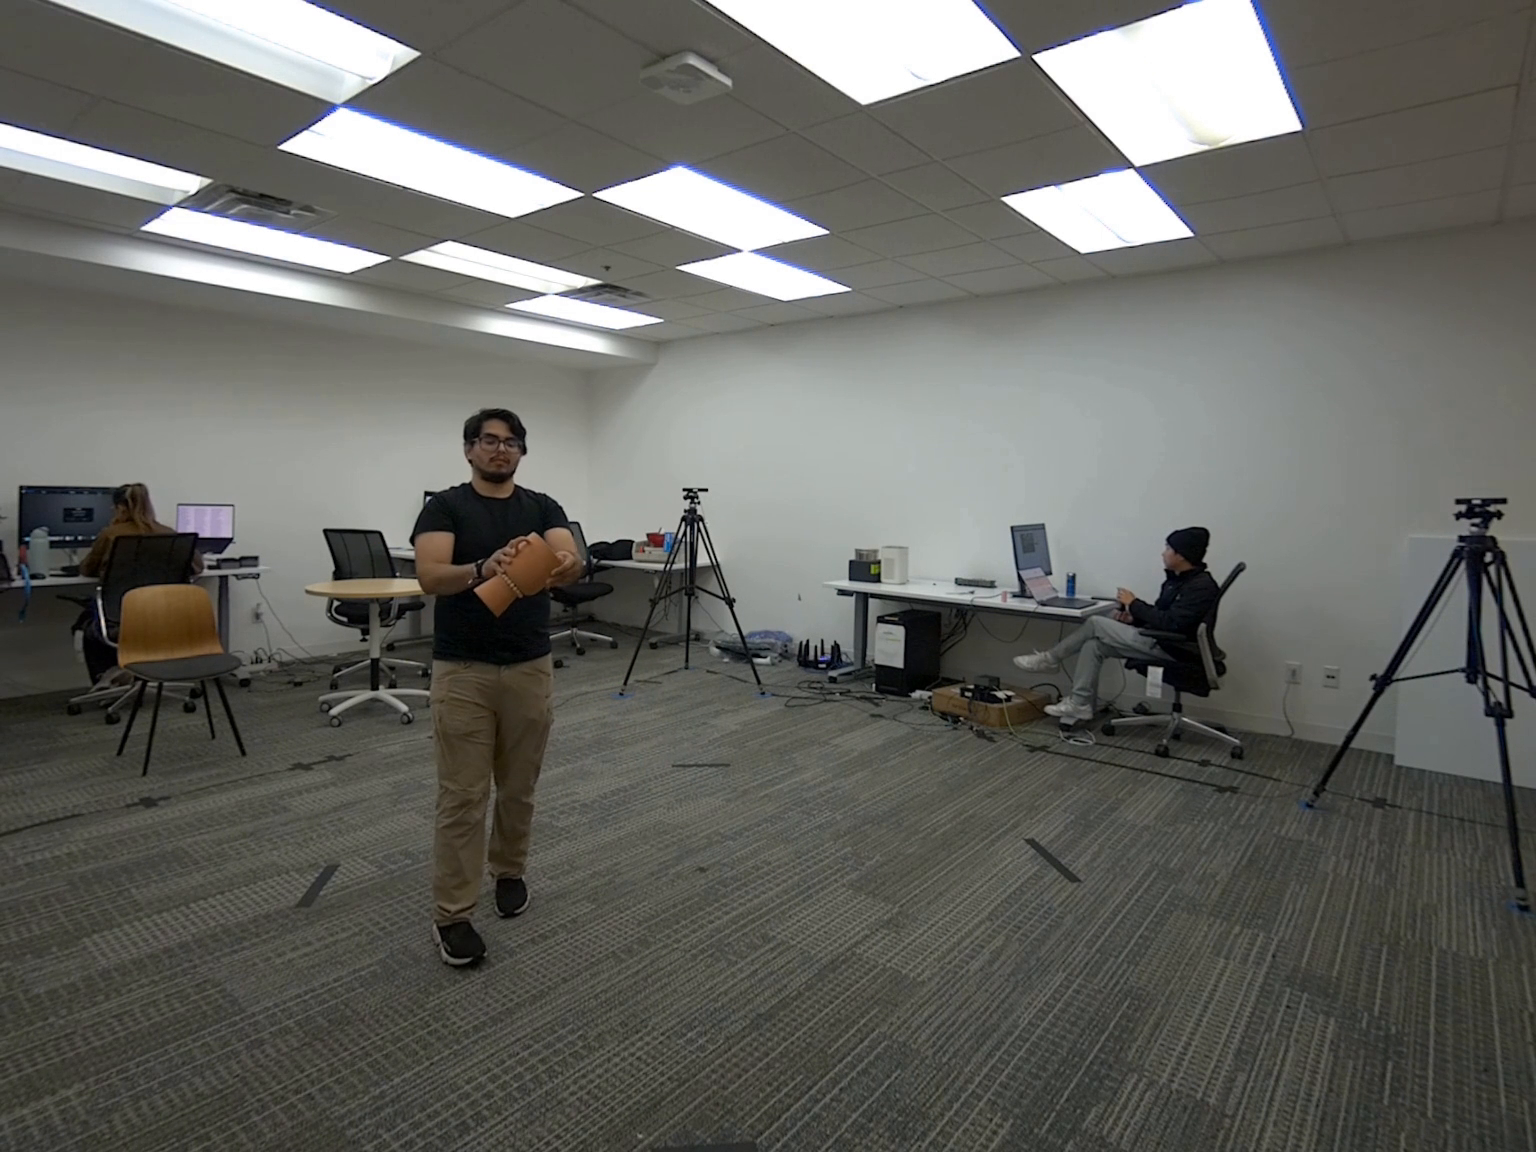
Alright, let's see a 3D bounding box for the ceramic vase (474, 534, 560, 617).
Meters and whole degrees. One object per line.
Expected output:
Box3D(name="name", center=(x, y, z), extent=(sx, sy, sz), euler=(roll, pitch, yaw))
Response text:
Box3D(name="ceramic vase", center=(-0.689, -0.004, 2.291), extent=(0.219, 0.156, 0.137), euler=(-42, 14, -13))
